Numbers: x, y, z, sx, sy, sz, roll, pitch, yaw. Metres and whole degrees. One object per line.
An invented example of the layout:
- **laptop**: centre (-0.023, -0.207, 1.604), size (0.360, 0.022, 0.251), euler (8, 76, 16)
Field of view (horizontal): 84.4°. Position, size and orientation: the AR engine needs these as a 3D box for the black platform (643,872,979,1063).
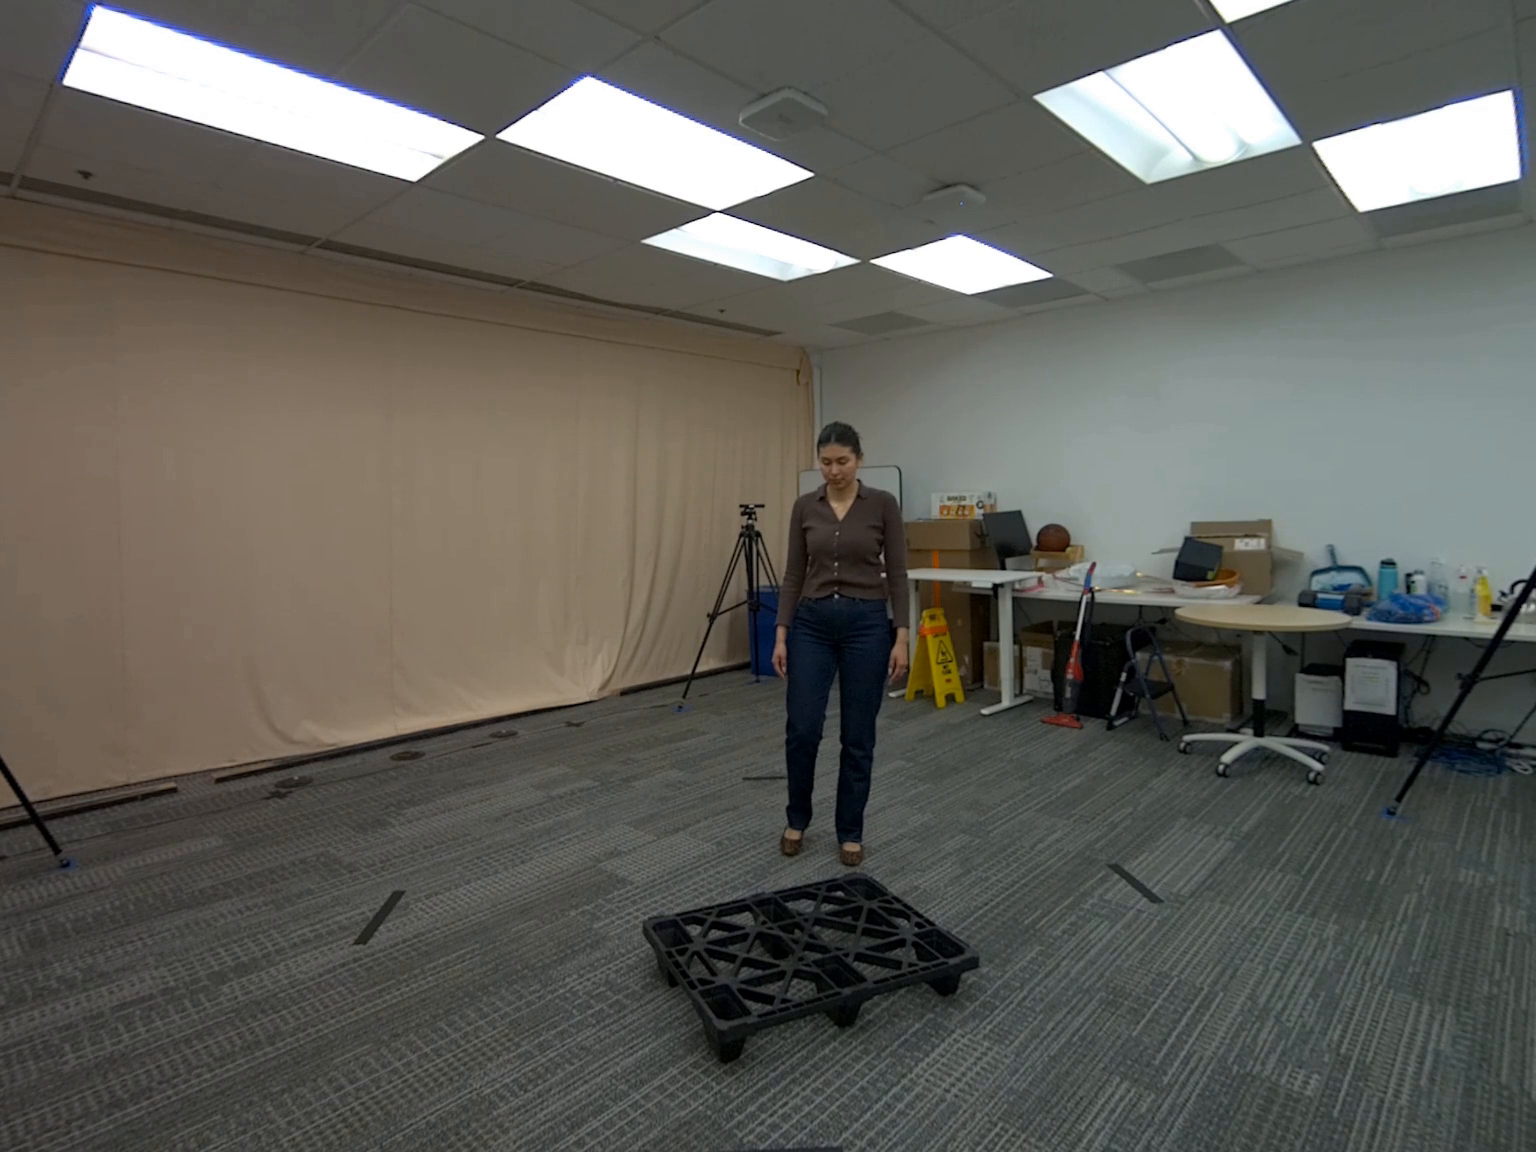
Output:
- **black platform**: centre (0.102, 1.118, 2.453), size (0.787, 0.143, 0.621), euler (-3, 5, -25)
